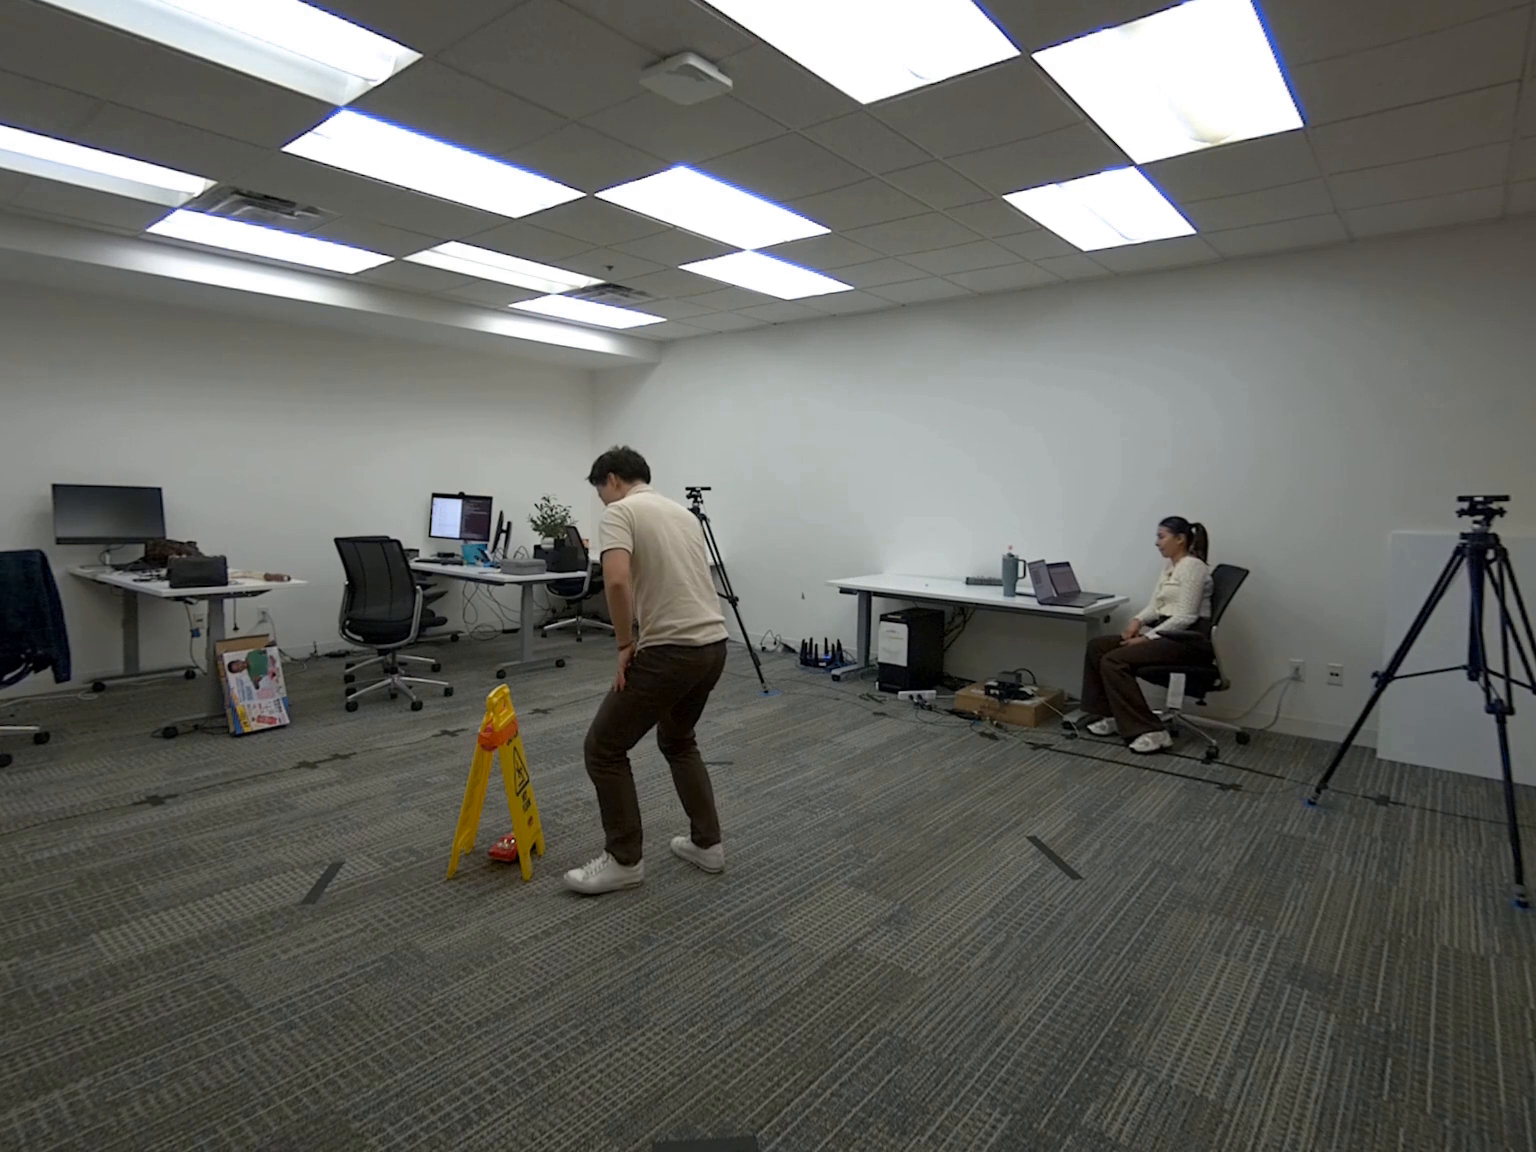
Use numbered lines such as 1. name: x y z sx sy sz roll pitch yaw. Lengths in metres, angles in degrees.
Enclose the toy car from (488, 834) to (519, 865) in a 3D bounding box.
1. toy car: -0.976 1.023 3.198 0.133 0.084 0.248 2 -7 15
